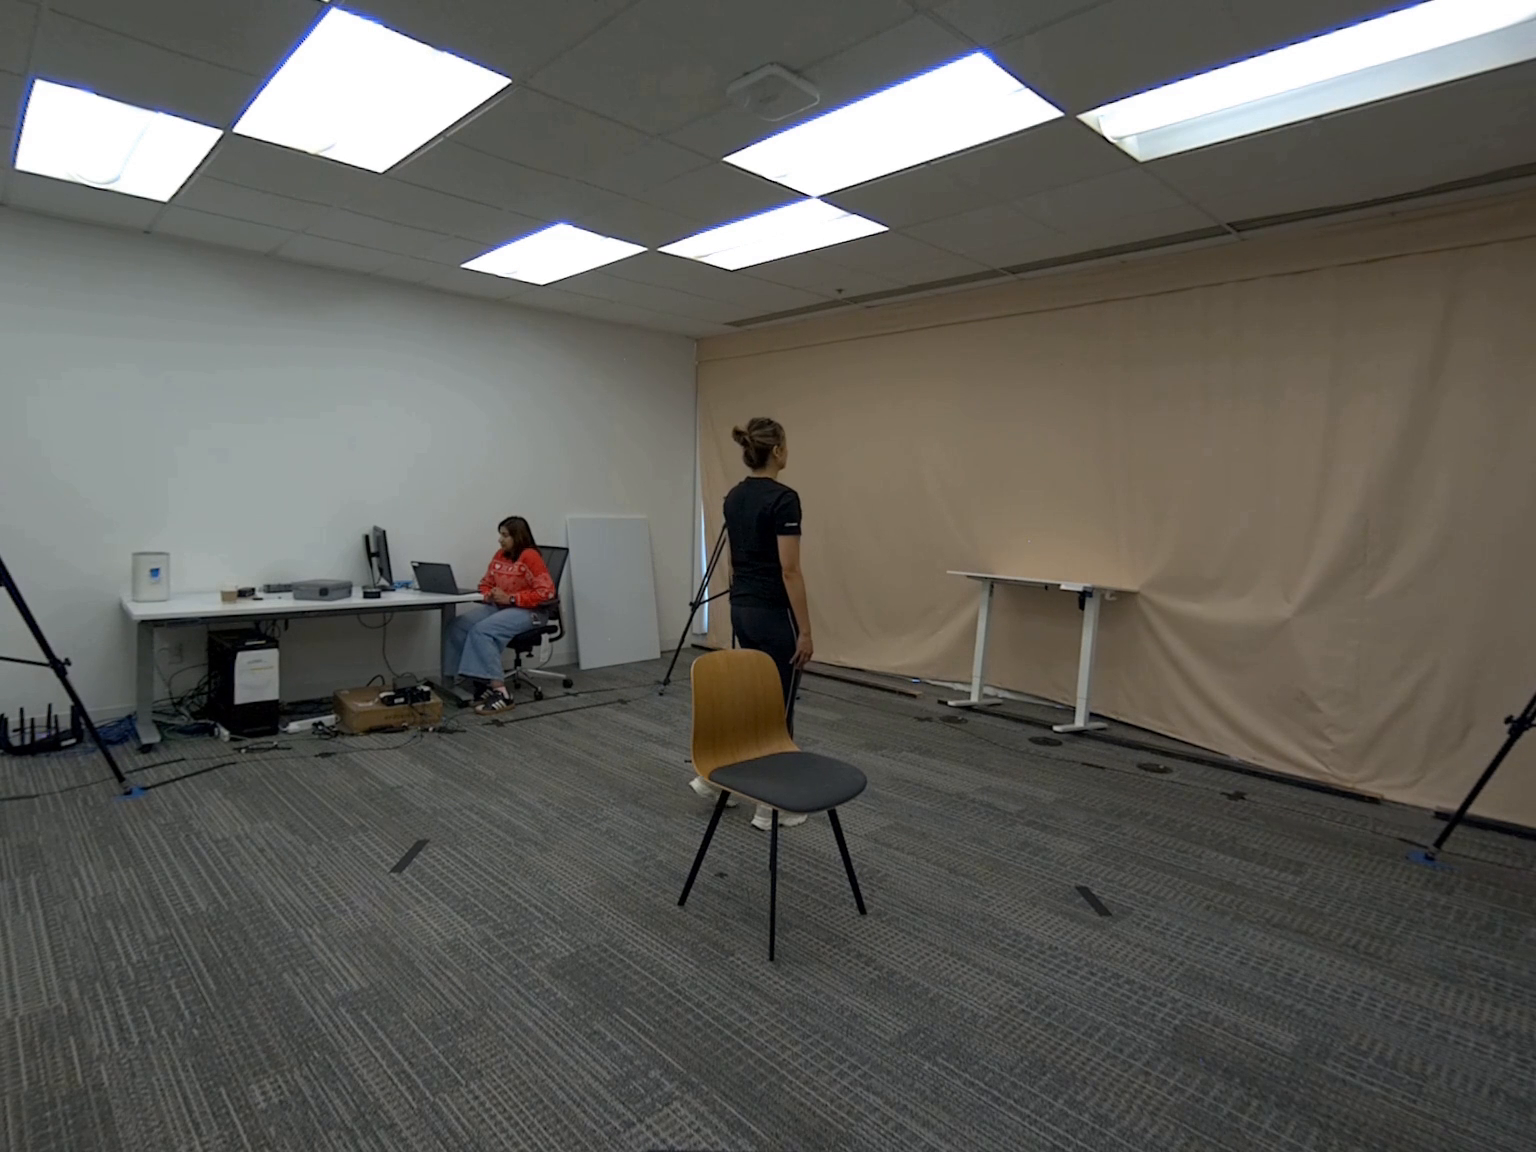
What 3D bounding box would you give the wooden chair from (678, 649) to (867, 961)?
[{"bbox_3d":[0.023,0.708,2.806,0.467,0.877,0.535,-2,0,-44],"label":"wooden chair"}]
